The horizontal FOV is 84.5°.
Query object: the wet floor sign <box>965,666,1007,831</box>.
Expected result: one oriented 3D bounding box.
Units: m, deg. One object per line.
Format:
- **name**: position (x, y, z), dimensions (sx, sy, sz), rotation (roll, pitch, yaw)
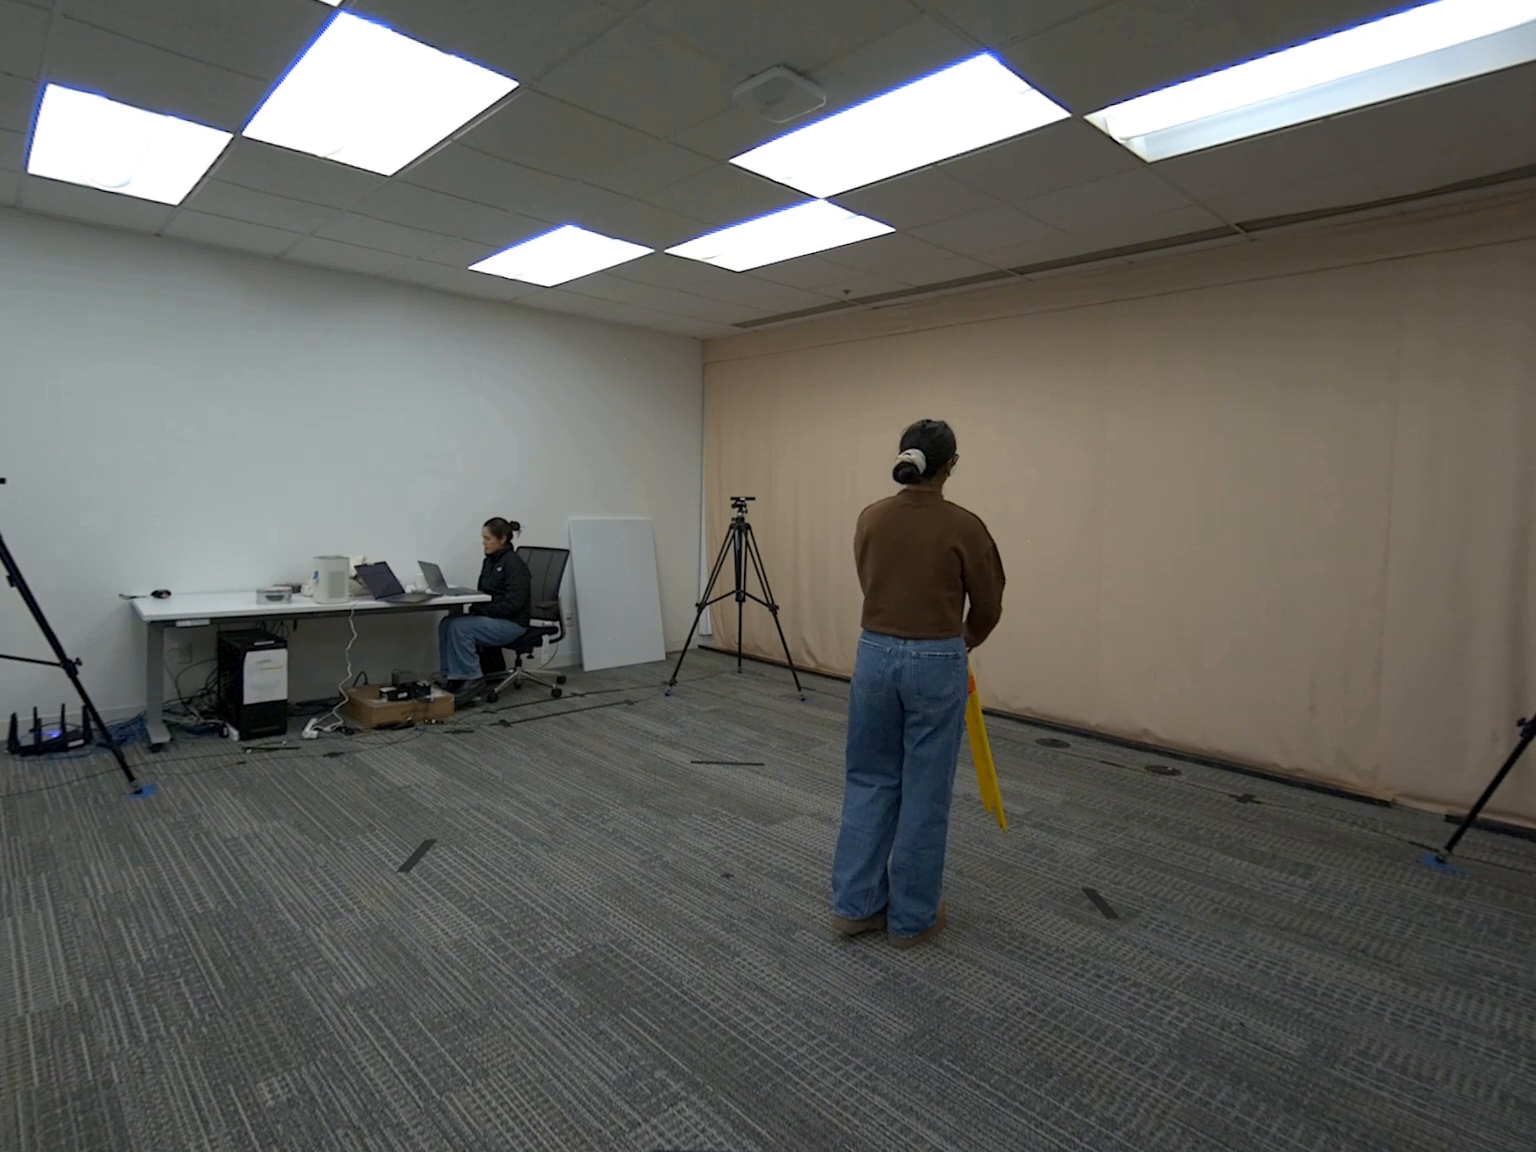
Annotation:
- **wet floor sign**: position (0.664, 0.548, 2.990), dimensions (0.290, 0.646, 0.282), rotation (-2, 0, 1)
